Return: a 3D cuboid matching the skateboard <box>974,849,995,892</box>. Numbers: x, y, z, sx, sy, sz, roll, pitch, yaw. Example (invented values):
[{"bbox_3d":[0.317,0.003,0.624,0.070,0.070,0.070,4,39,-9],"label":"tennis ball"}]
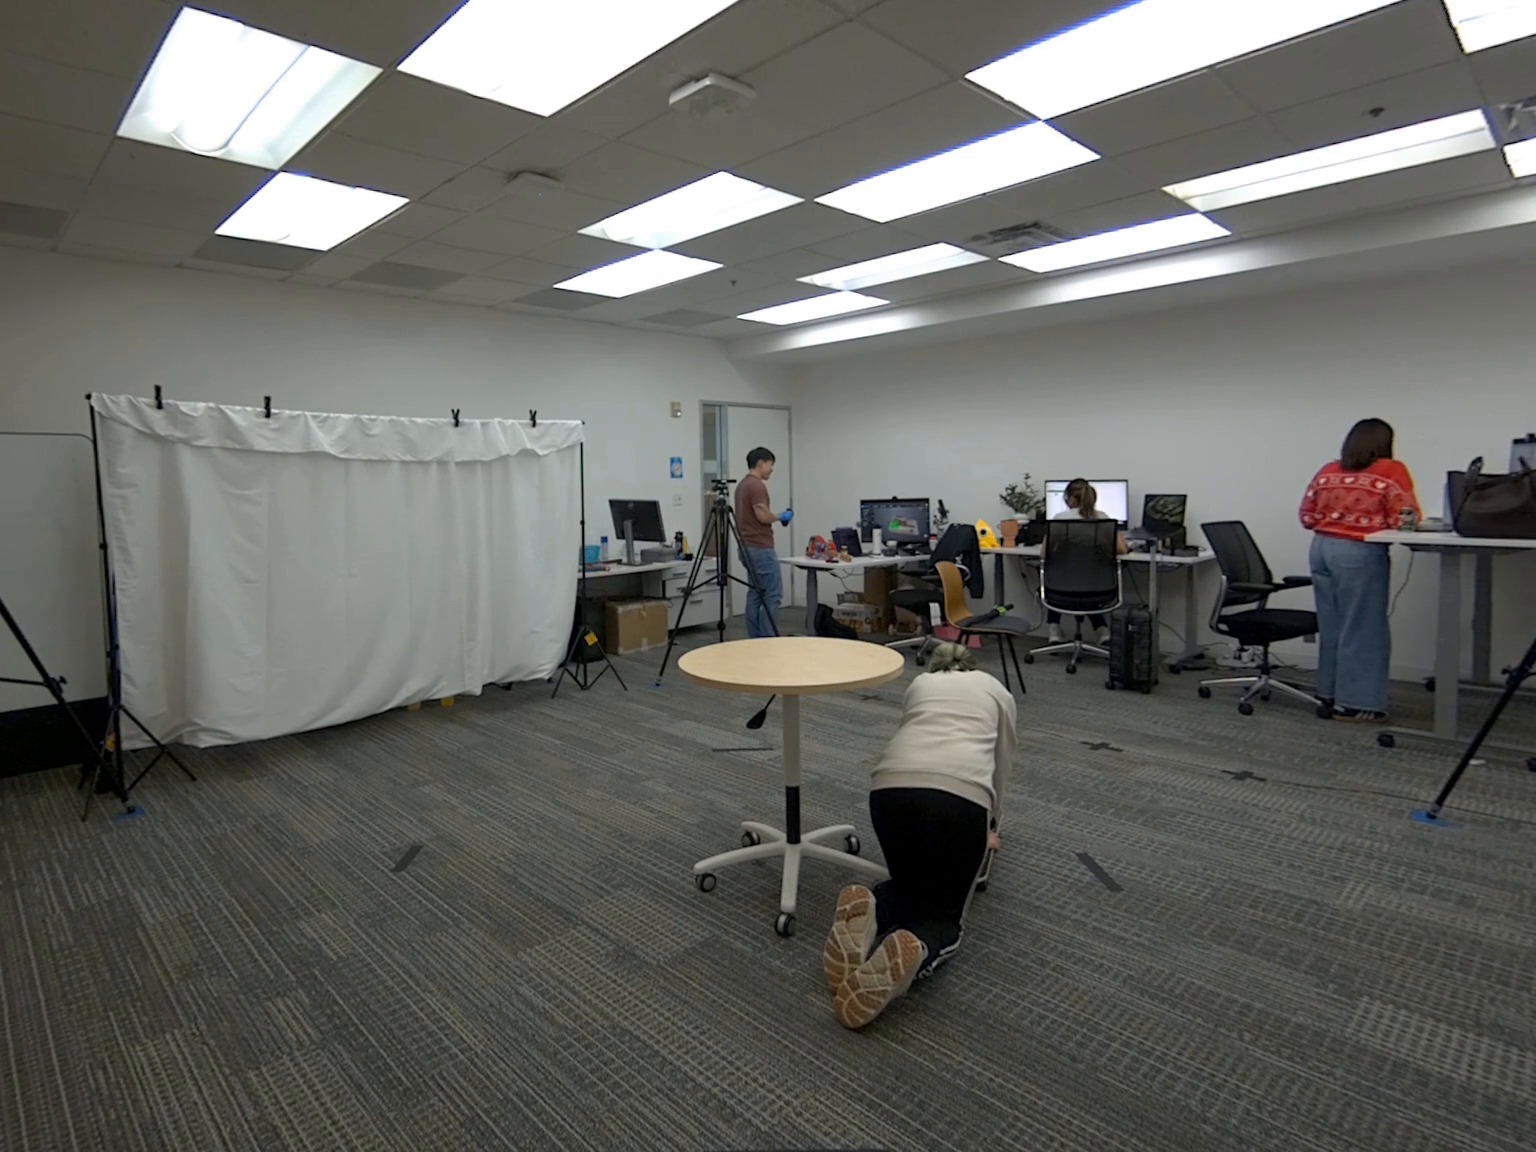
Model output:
[{"bbox_3d":[0.729,0.966,3.101,0.197,0.110,0.773,0,6,20],"label":"skateboard"}]
